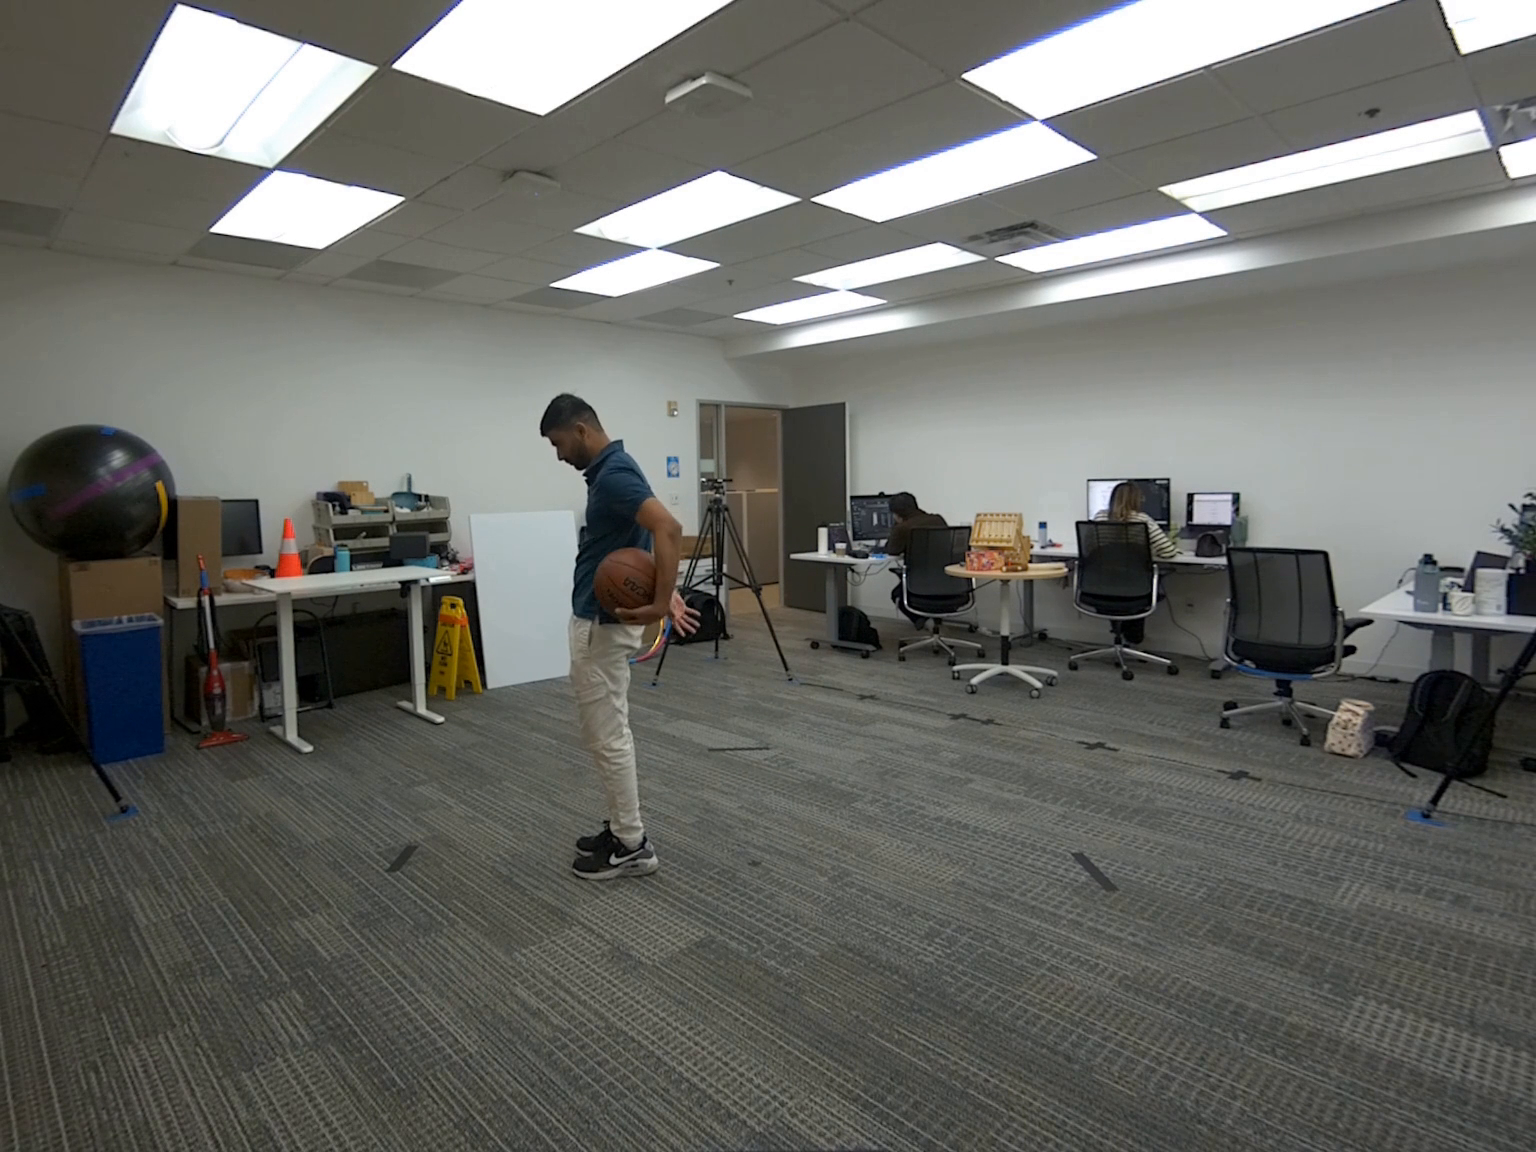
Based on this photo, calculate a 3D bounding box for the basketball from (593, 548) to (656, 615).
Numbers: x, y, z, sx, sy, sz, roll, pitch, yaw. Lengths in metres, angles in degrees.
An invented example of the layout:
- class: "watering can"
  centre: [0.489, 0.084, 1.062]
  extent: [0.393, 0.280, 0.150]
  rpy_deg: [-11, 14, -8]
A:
- class: "basketball"
  centre: [-0.469, 0.026, 2.832]
  extent: [0.236, 0.235, 0.237]
  rpy_deg: [-1, 5, -2]
